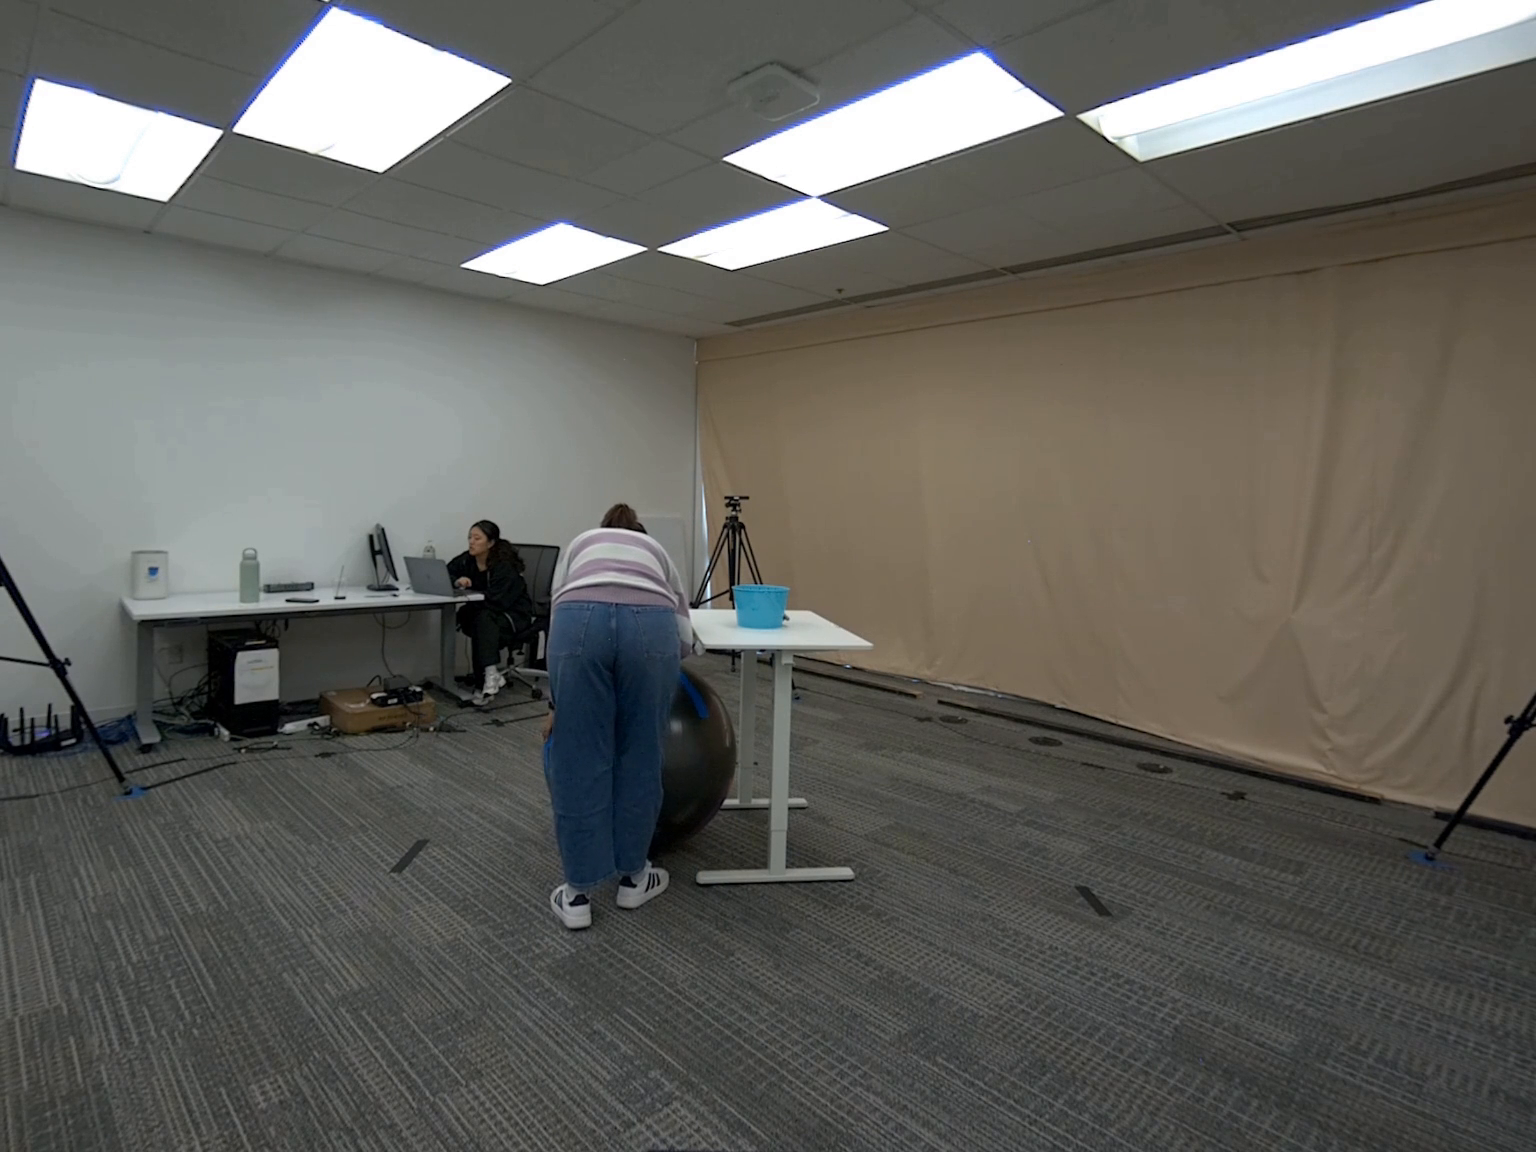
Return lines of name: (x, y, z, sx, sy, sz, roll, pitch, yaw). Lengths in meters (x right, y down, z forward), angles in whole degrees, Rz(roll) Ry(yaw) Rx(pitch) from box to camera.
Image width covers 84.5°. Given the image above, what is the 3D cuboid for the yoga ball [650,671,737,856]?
yoga ball: (-0.516, 0.710, 3.346, 0.757, 0.756, 0.761, 1, 4, -1)
